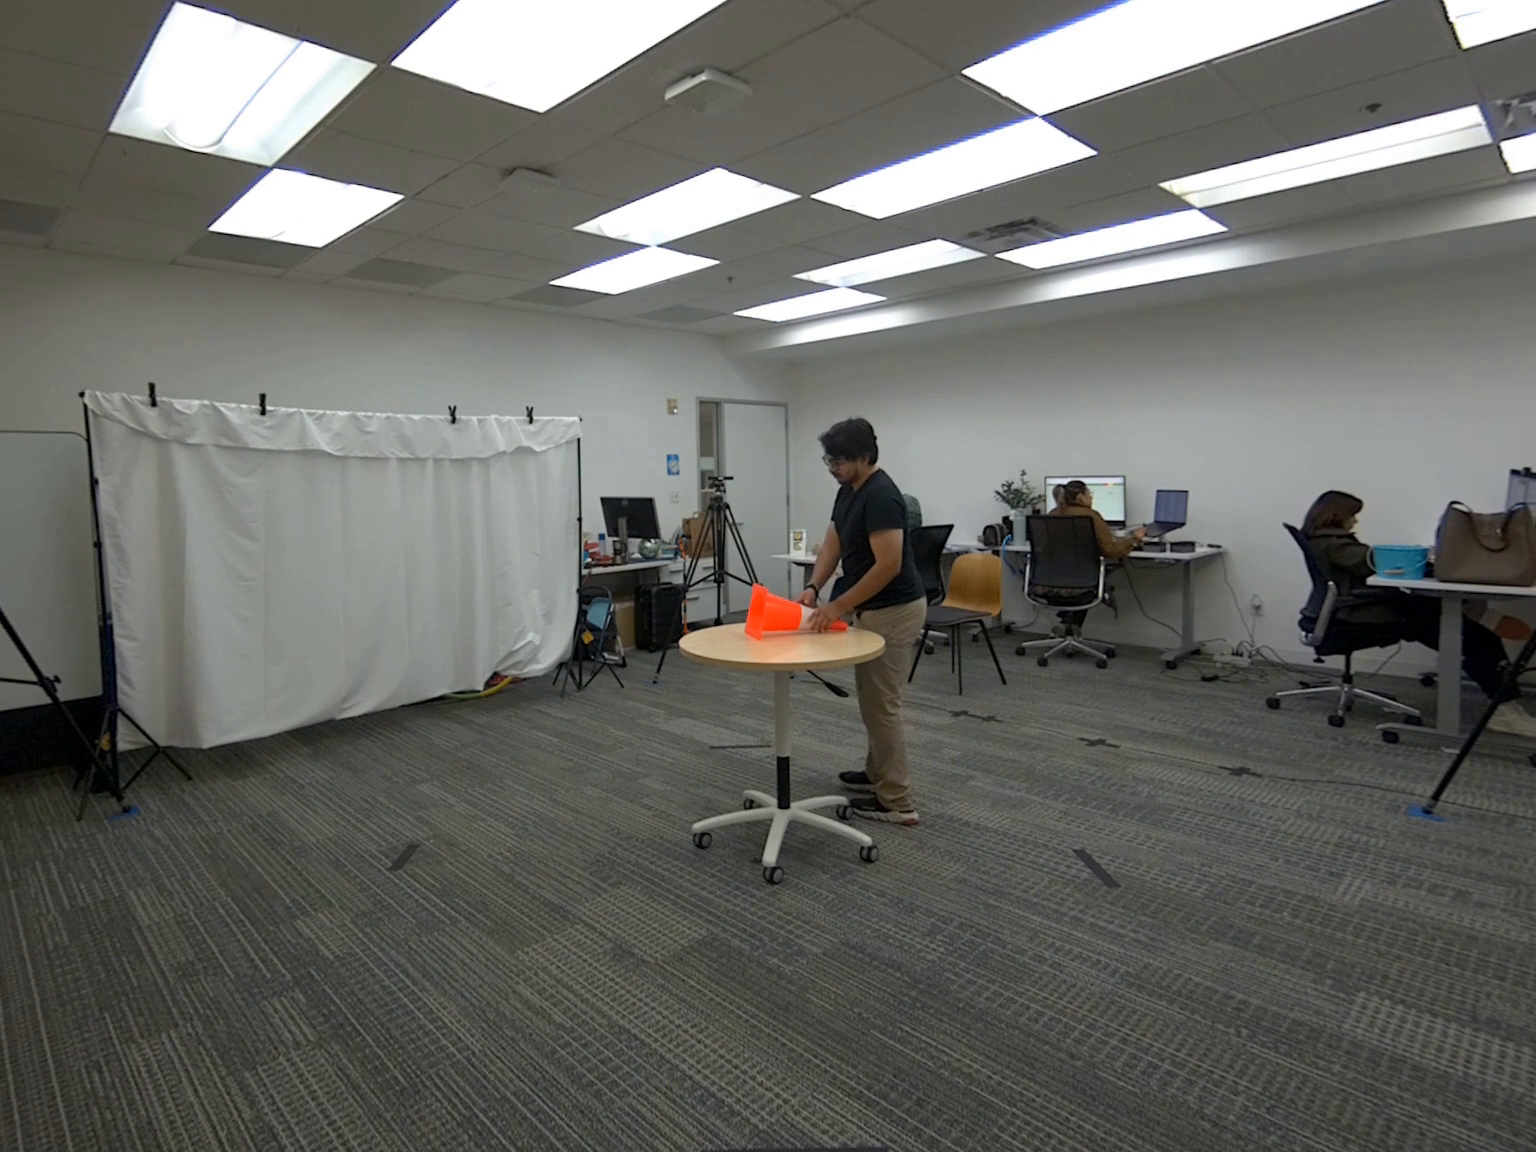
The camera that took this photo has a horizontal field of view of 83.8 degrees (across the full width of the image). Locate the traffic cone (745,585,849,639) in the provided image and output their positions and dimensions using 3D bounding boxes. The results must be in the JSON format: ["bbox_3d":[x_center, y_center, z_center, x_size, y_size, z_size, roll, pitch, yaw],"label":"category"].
[{"bbox_3d":[0.136,0.163,3.319,0.378,0.203,0.208,9,3,-13],"label":"traffic cone"}]
